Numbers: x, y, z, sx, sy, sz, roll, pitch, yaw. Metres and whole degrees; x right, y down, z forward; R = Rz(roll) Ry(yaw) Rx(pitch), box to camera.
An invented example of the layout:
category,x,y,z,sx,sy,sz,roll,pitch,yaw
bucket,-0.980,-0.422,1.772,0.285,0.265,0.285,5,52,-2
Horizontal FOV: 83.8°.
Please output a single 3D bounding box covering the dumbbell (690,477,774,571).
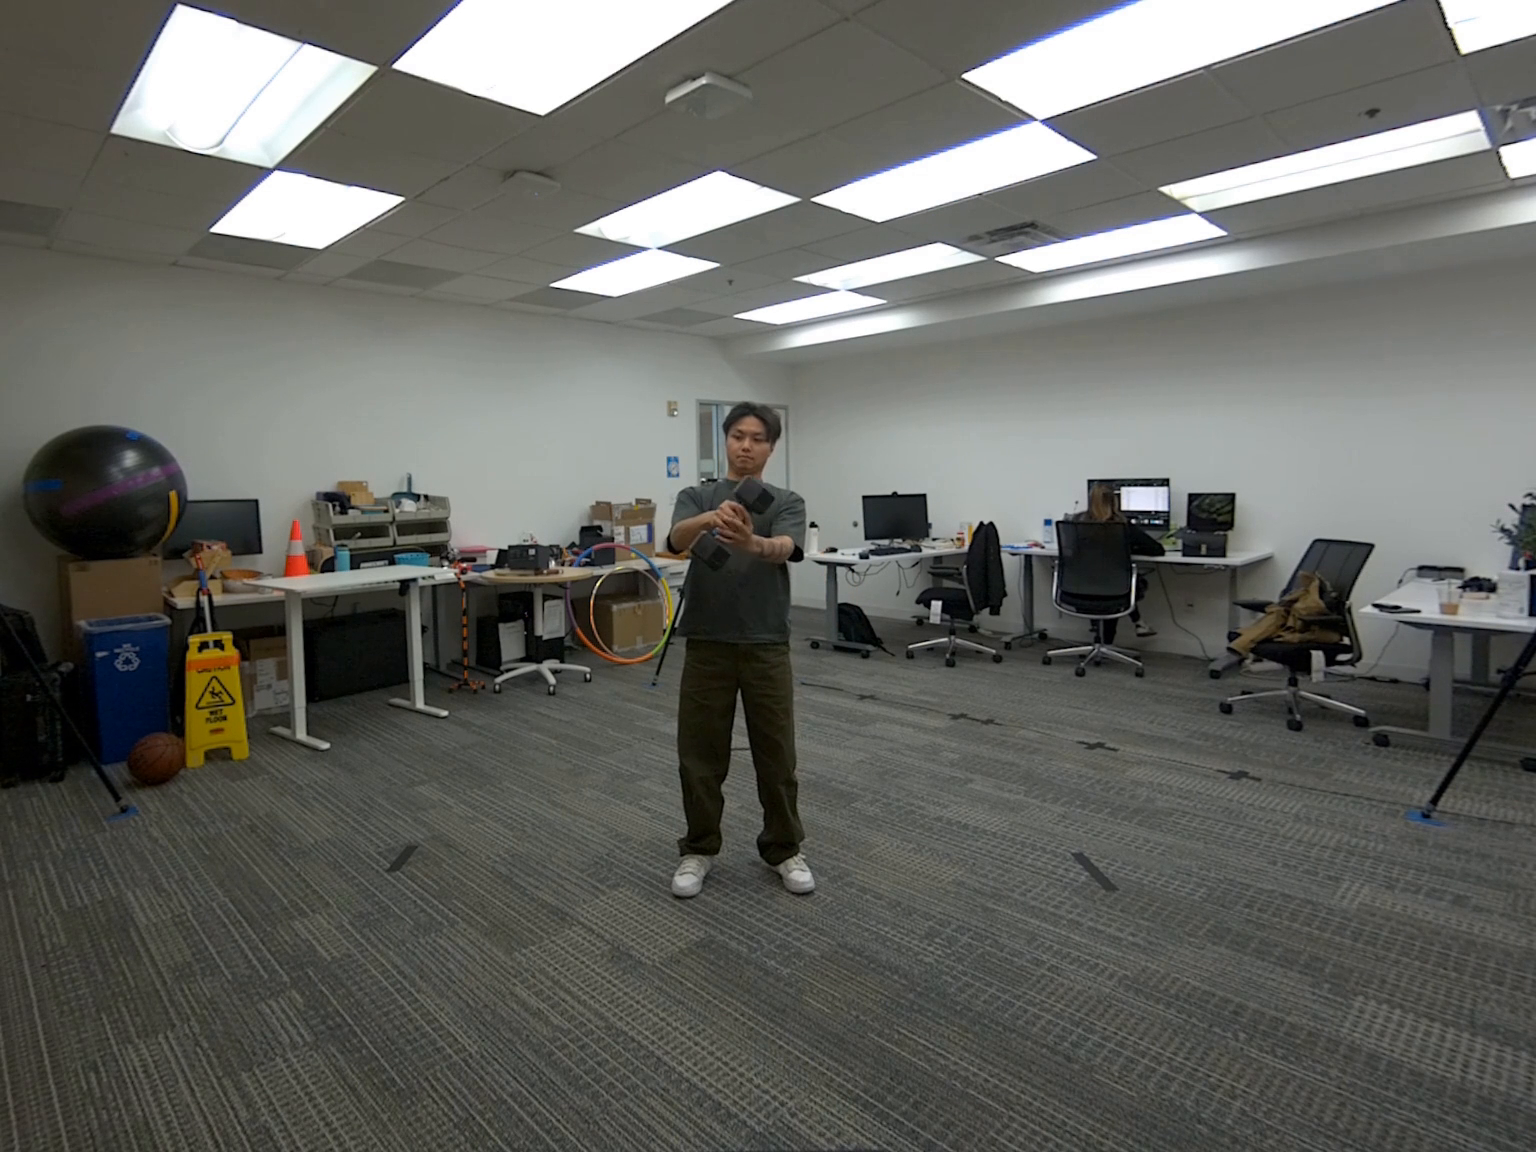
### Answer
category,x,y,z,sx,sy,sz,roll,pitch,yaw
dumbbell,-0.108,-0.160,2.534,0.126,0.293,0.106,38,0,19
